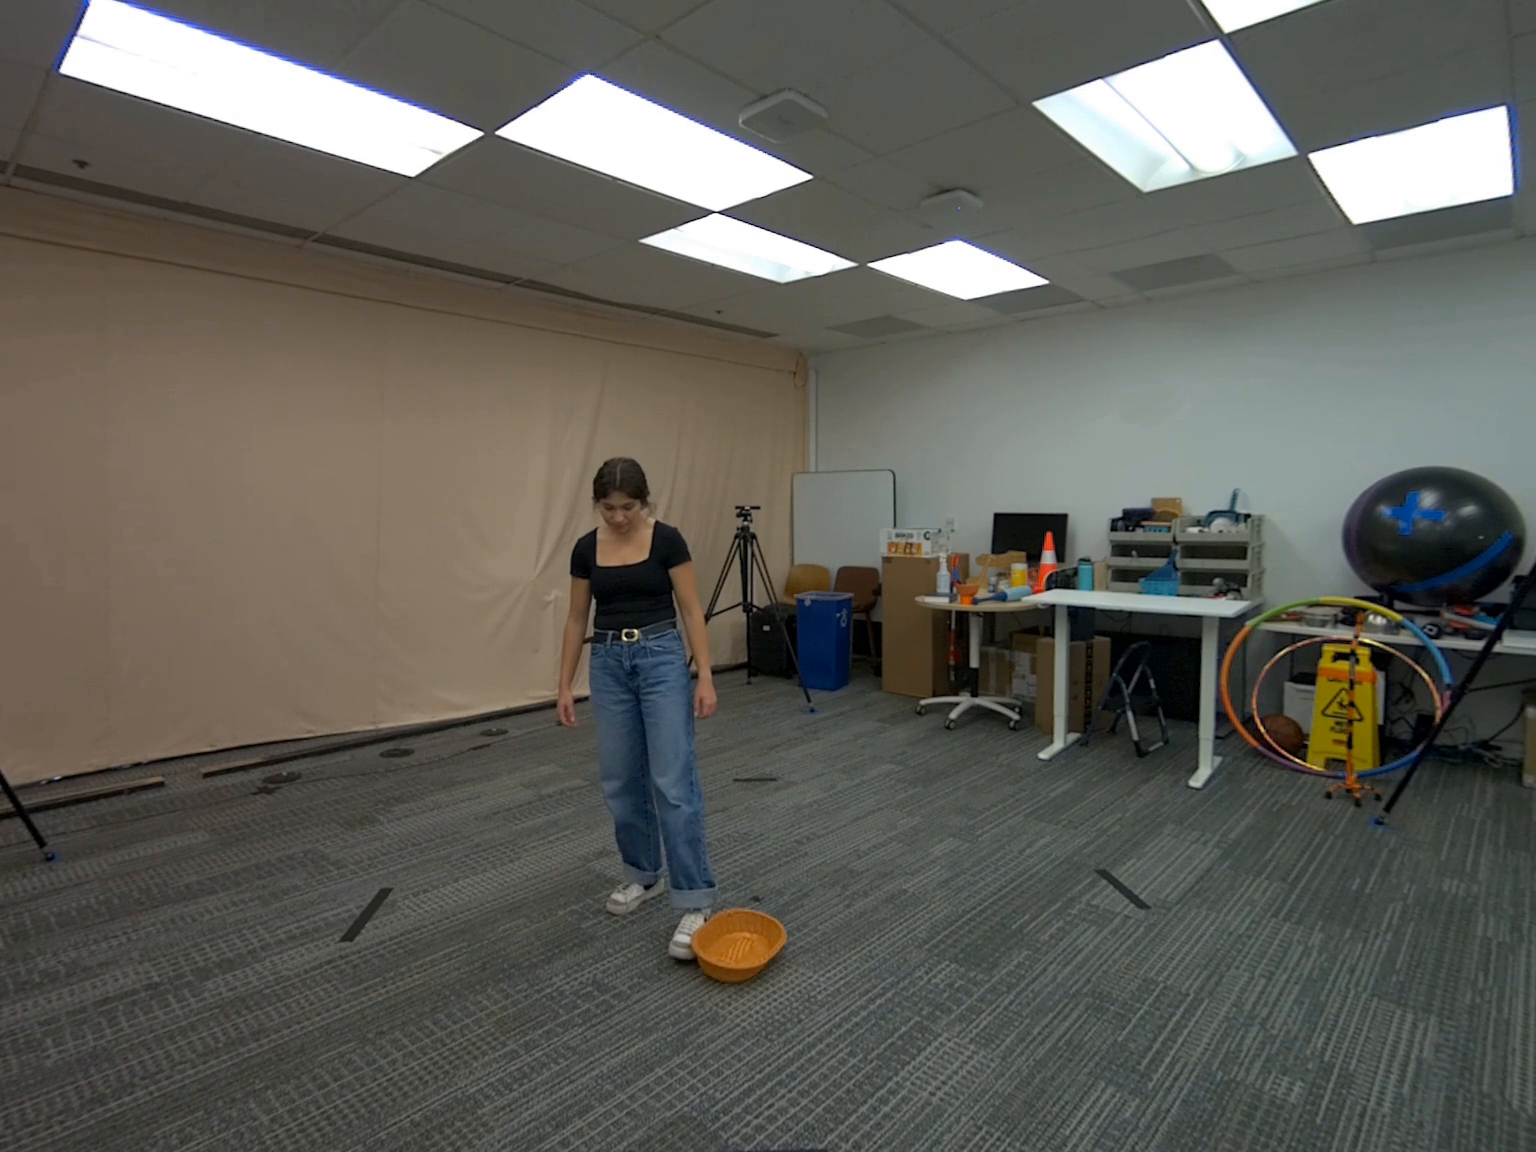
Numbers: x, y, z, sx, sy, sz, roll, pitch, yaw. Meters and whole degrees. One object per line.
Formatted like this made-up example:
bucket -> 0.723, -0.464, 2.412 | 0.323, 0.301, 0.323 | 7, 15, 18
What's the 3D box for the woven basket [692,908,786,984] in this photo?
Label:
woven basket -> -0.085, 1.134, 2.578 | 0.261, 0.073, 0.340 | 10, 7, 34
